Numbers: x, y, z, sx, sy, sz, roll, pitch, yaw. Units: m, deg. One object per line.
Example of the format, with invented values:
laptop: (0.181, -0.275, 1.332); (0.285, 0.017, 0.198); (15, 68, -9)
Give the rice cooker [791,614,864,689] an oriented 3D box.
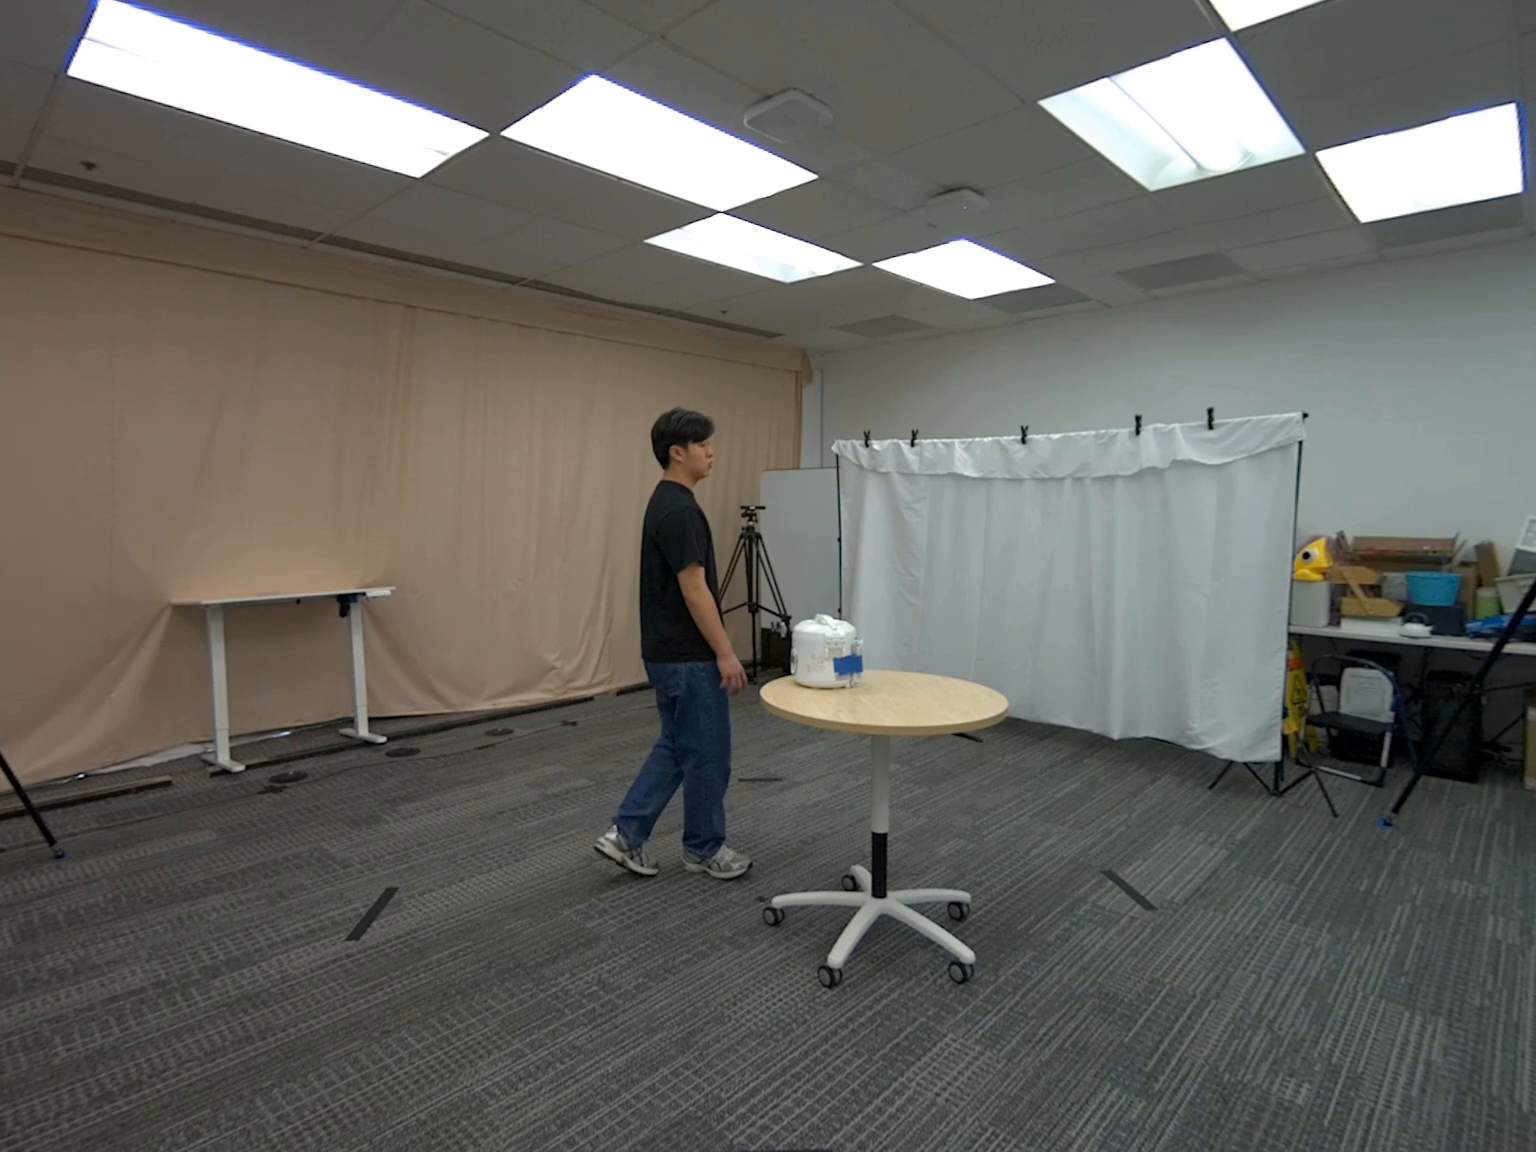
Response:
rice cooker: (0.194, 0.245, 2.801); (0.214, 0.232, 0.224); (-1, 3, -14)
